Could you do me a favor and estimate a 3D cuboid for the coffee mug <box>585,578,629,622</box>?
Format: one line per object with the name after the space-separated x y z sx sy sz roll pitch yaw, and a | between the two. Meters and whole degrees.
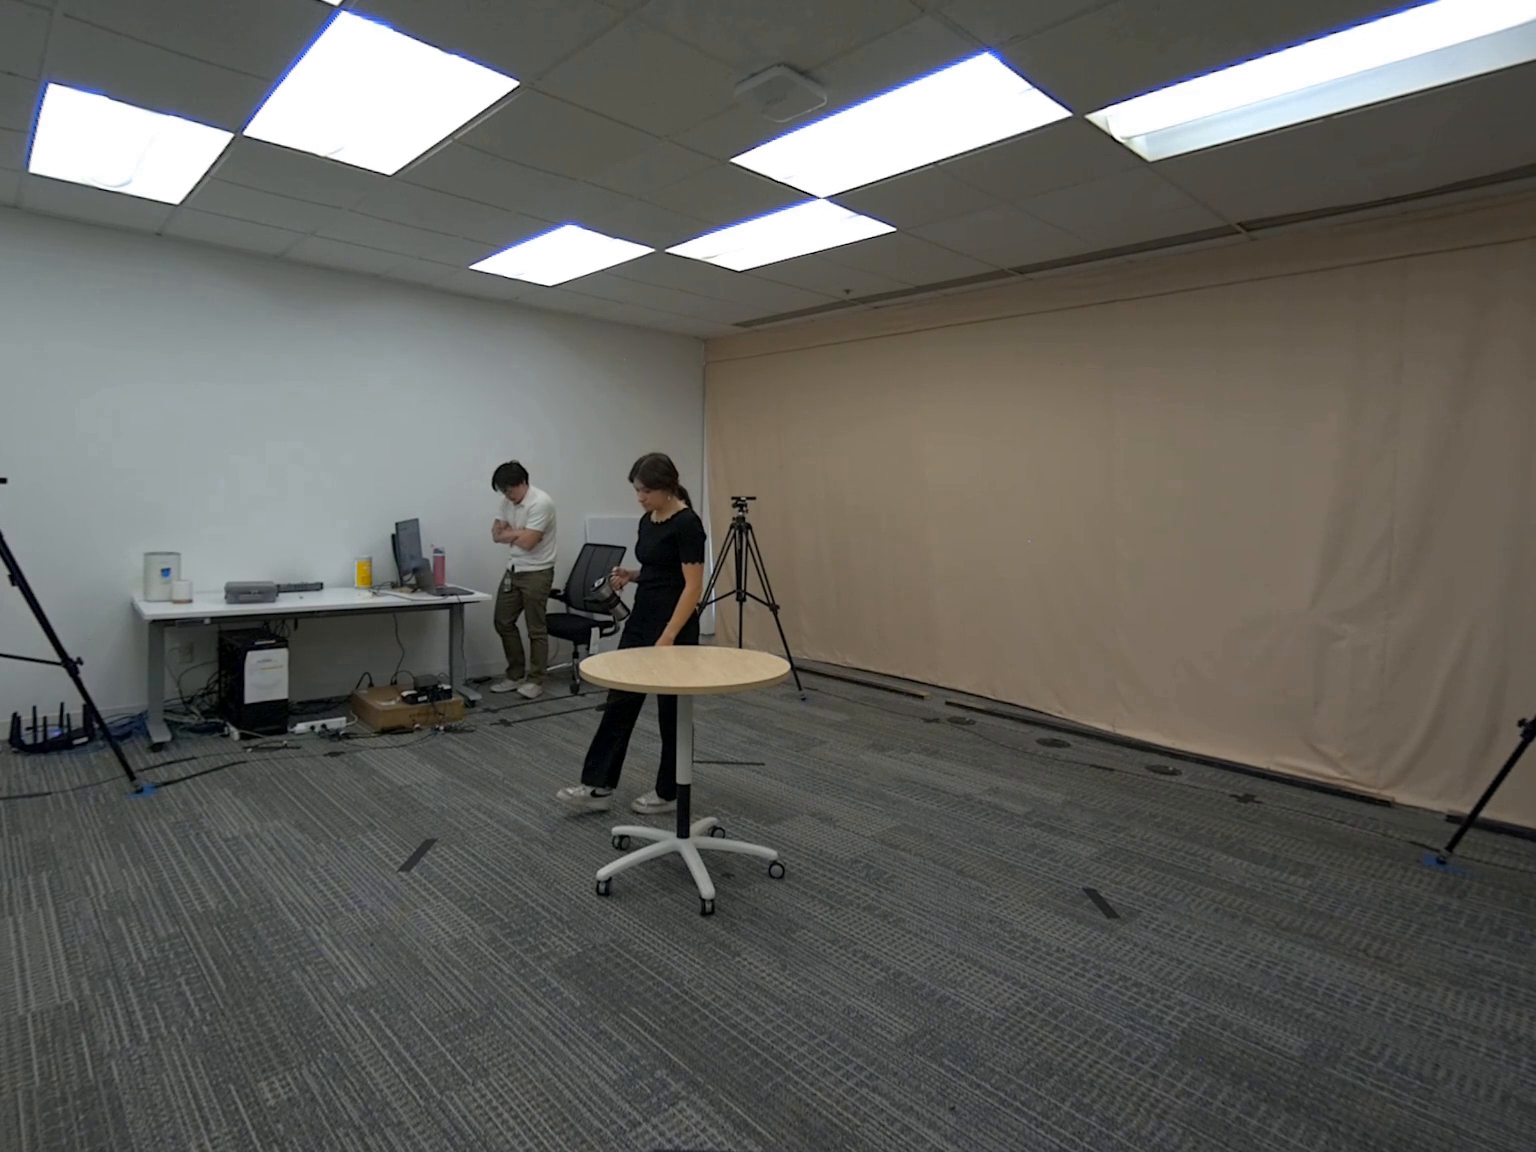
-0.673 0.089 3.638 0.122 0.198 0.090 -48 26 -19 | coffee mug
